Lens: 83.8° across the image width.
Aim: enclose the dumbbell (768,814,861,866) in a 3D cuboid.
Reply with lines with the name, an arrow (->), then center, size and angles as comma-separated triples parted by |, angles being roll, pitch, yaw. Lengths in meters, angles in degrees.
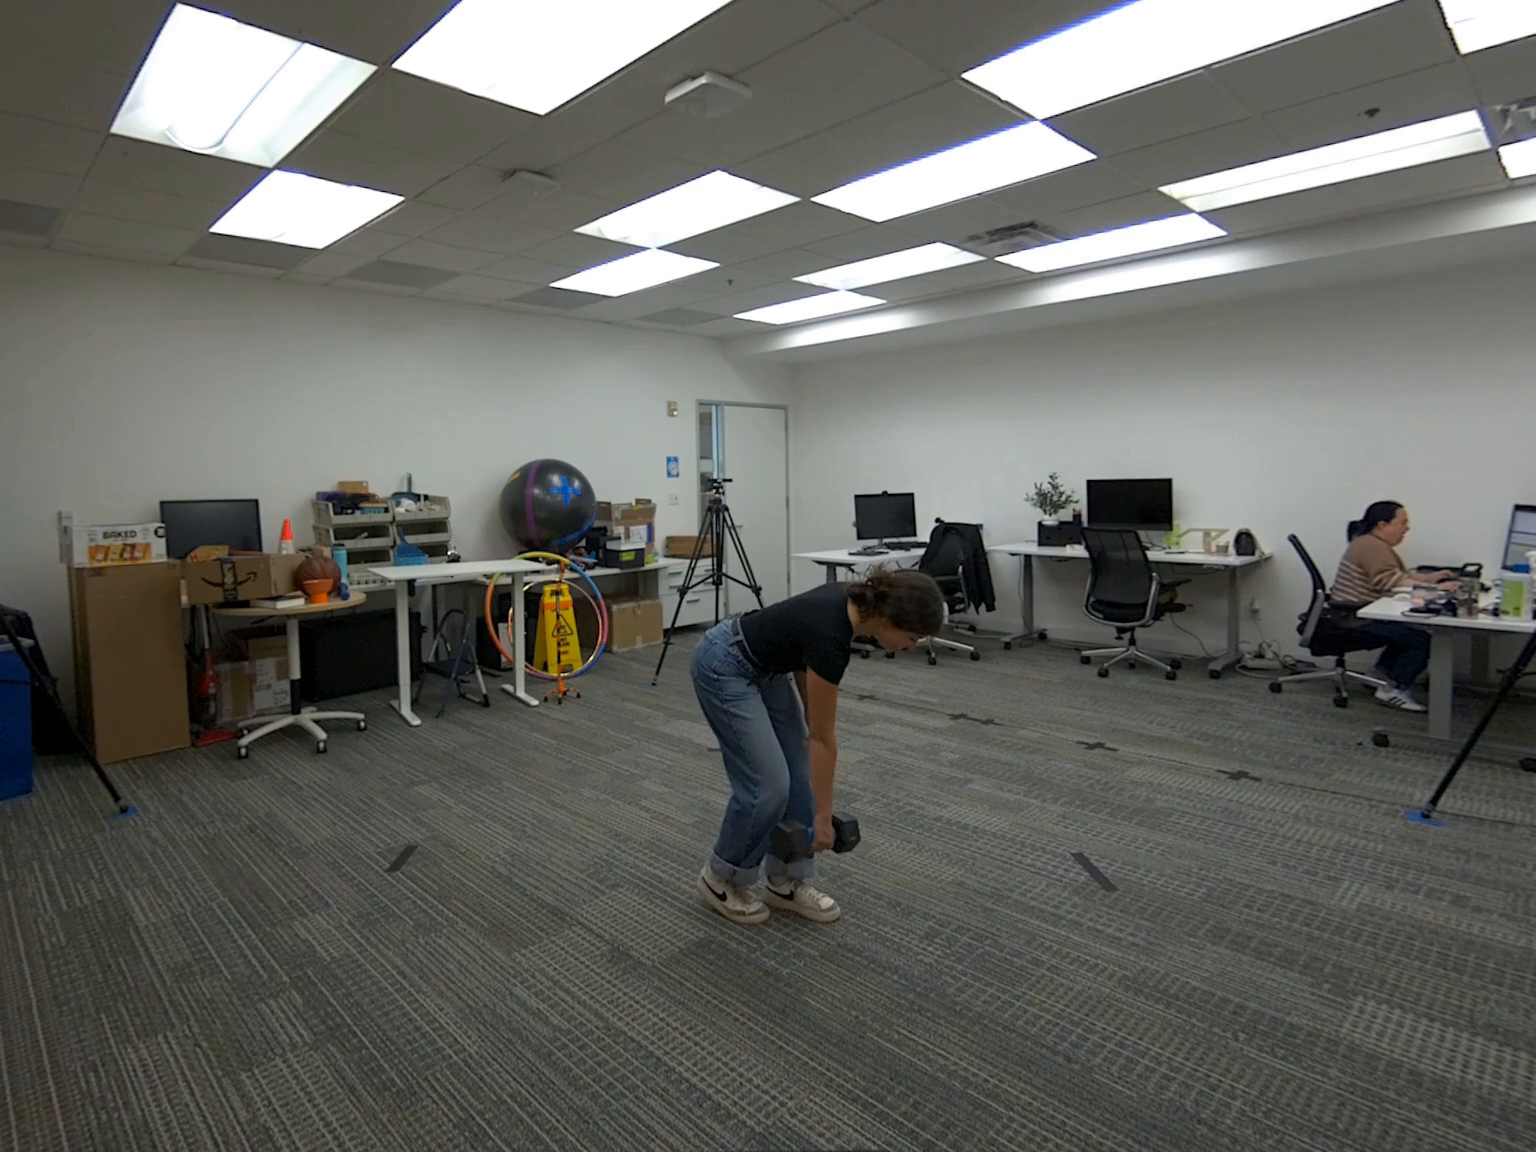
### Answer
dumbbell -> 0.141, 0.794, 2.610 | 0.285, 0.122, 0.113 | 3, 40, -40
